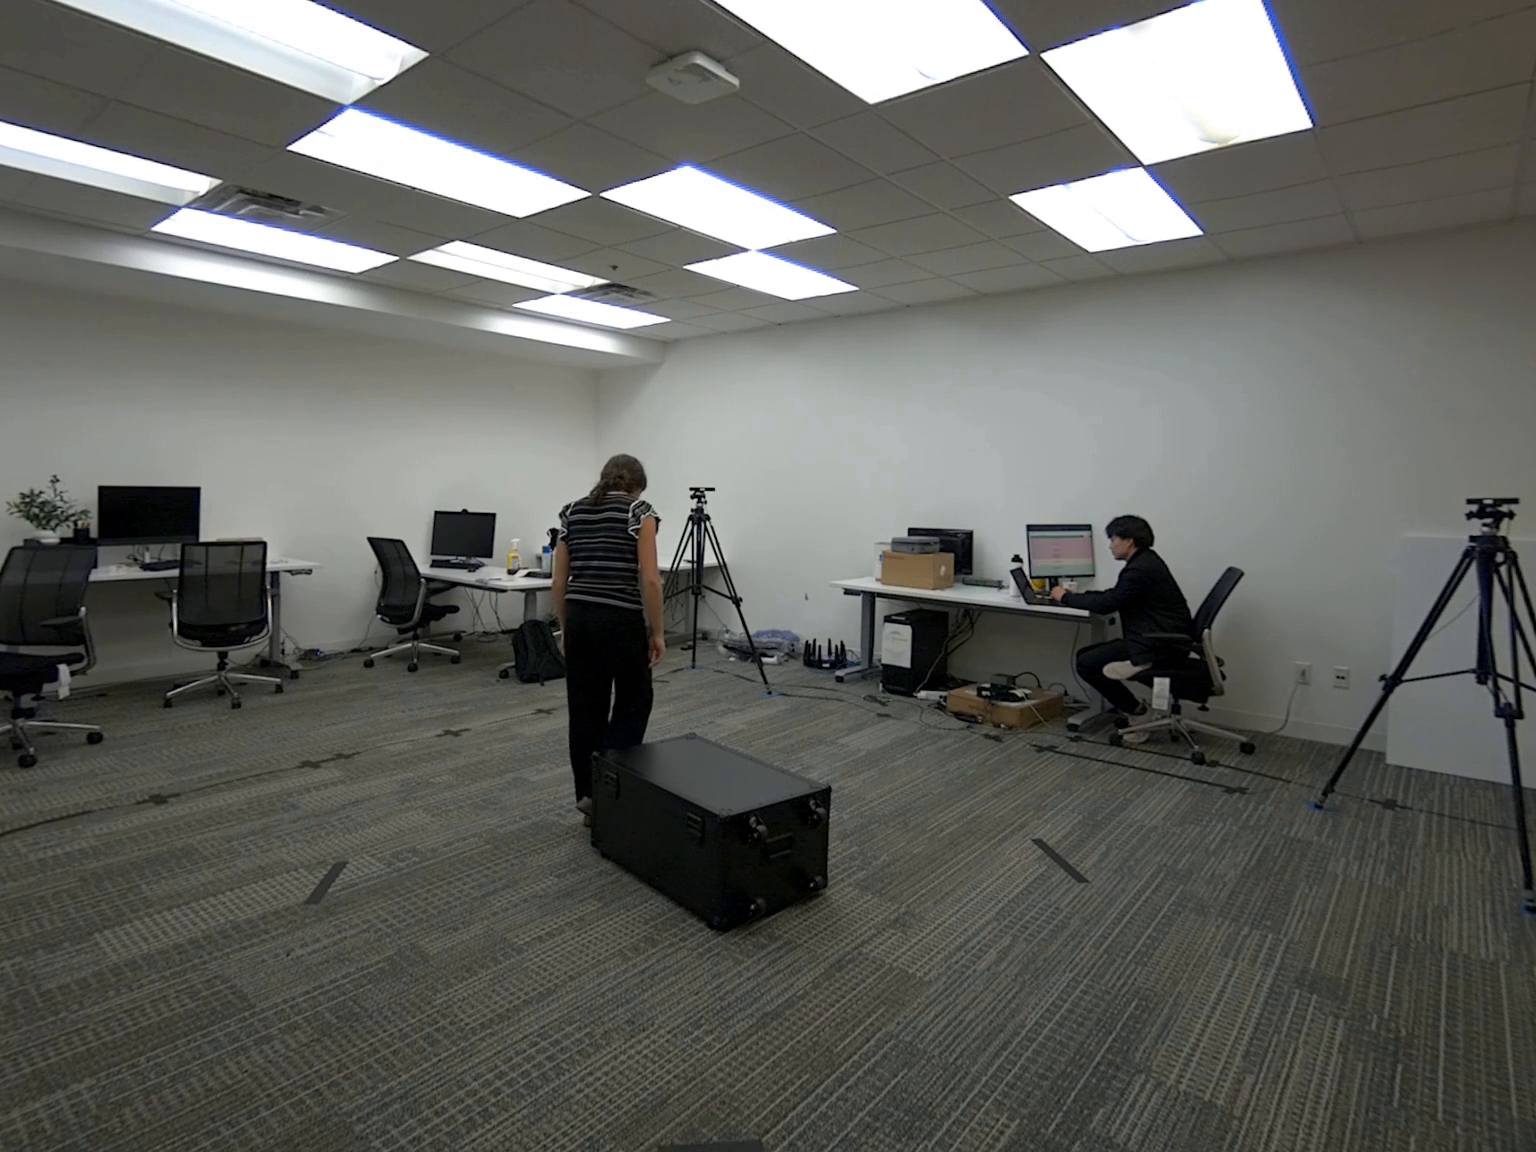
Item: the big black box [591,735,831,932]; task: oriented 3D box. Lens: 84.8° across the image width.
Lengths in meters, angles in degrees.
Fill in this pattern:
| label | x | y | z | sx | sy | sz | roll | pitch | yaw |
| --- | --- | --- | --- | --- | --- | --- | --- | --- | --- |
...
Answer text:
| label | x | y | z | sx | sy | sz | roll | pitch | yaw |
| --- | --- | --- | --- | --- | --- | --- | --- | --- | --- |
| big black box | -0.217 | 0.882 | 3.044 | 0.505 | 0.395 | 0.891 | -3 | 6 | -41 |
